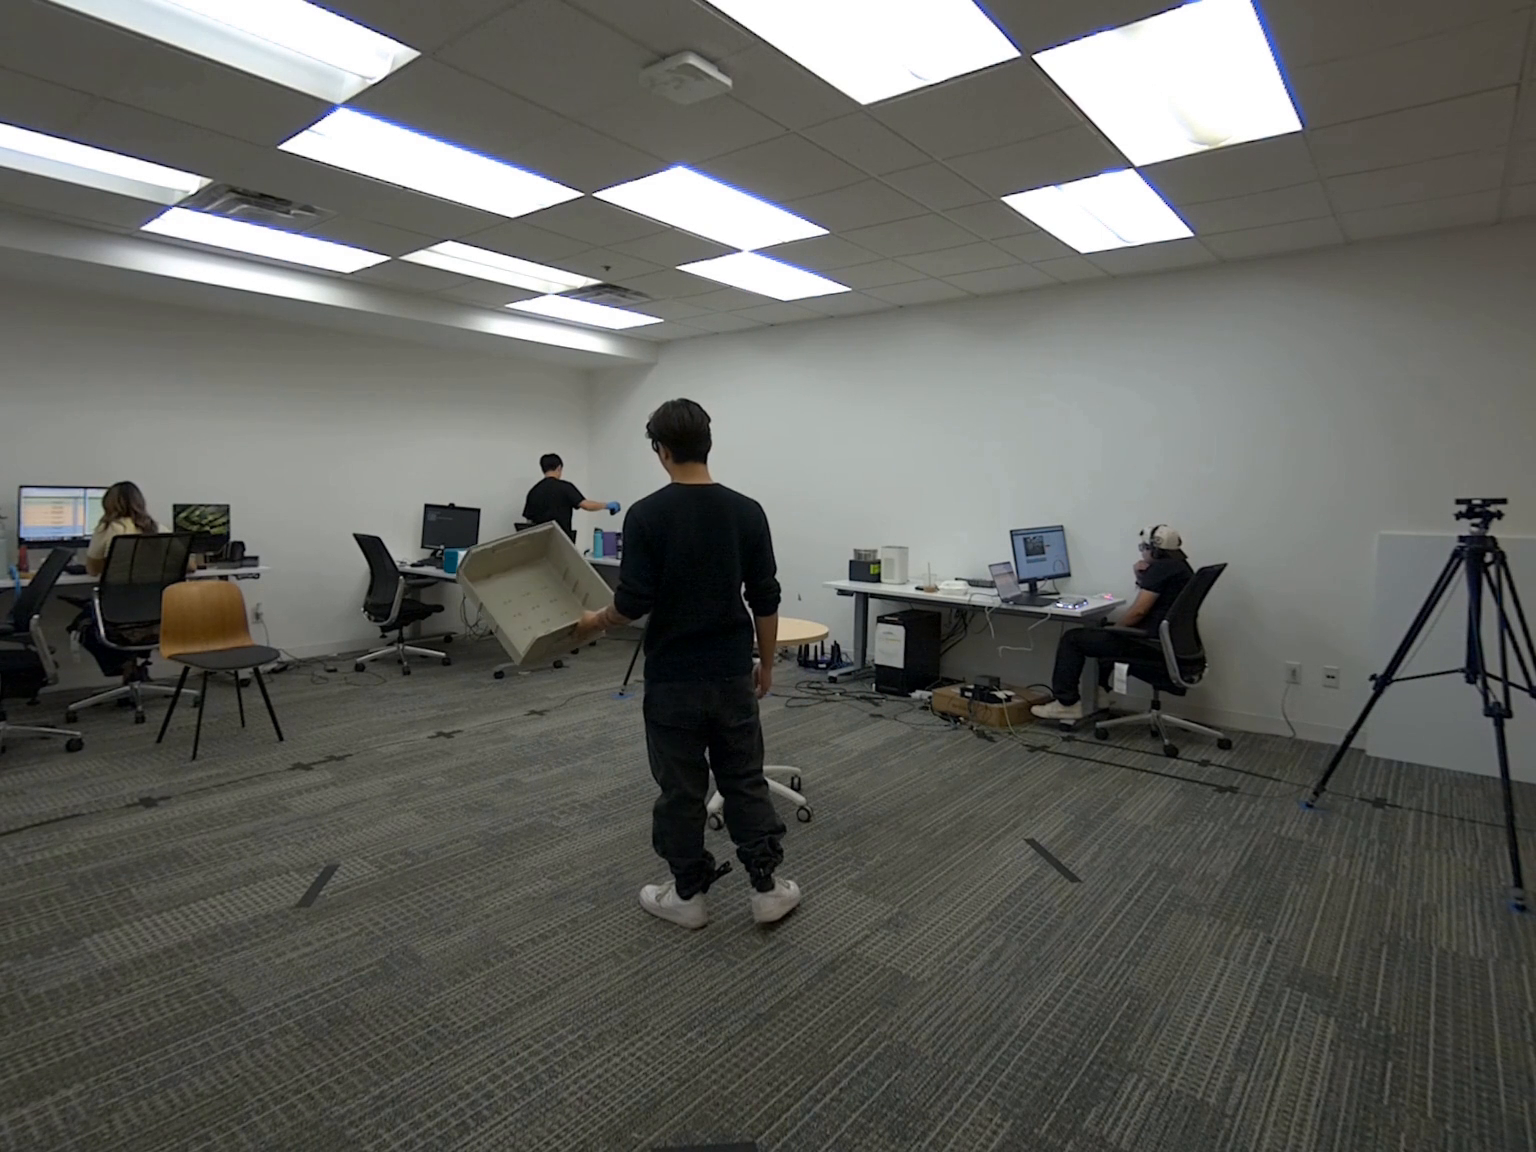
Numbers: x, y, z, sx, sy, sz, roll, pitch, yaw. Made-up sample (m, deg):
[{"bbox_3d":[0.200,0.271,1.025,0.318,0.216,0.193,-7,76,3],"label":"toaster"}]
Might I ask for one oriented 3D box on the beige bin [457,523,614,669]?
[{"bbox_3d":[-0.796,0.063,2.905,0.370,0.186,0.436,-23,59,-41],"label":"beige bin"}]
